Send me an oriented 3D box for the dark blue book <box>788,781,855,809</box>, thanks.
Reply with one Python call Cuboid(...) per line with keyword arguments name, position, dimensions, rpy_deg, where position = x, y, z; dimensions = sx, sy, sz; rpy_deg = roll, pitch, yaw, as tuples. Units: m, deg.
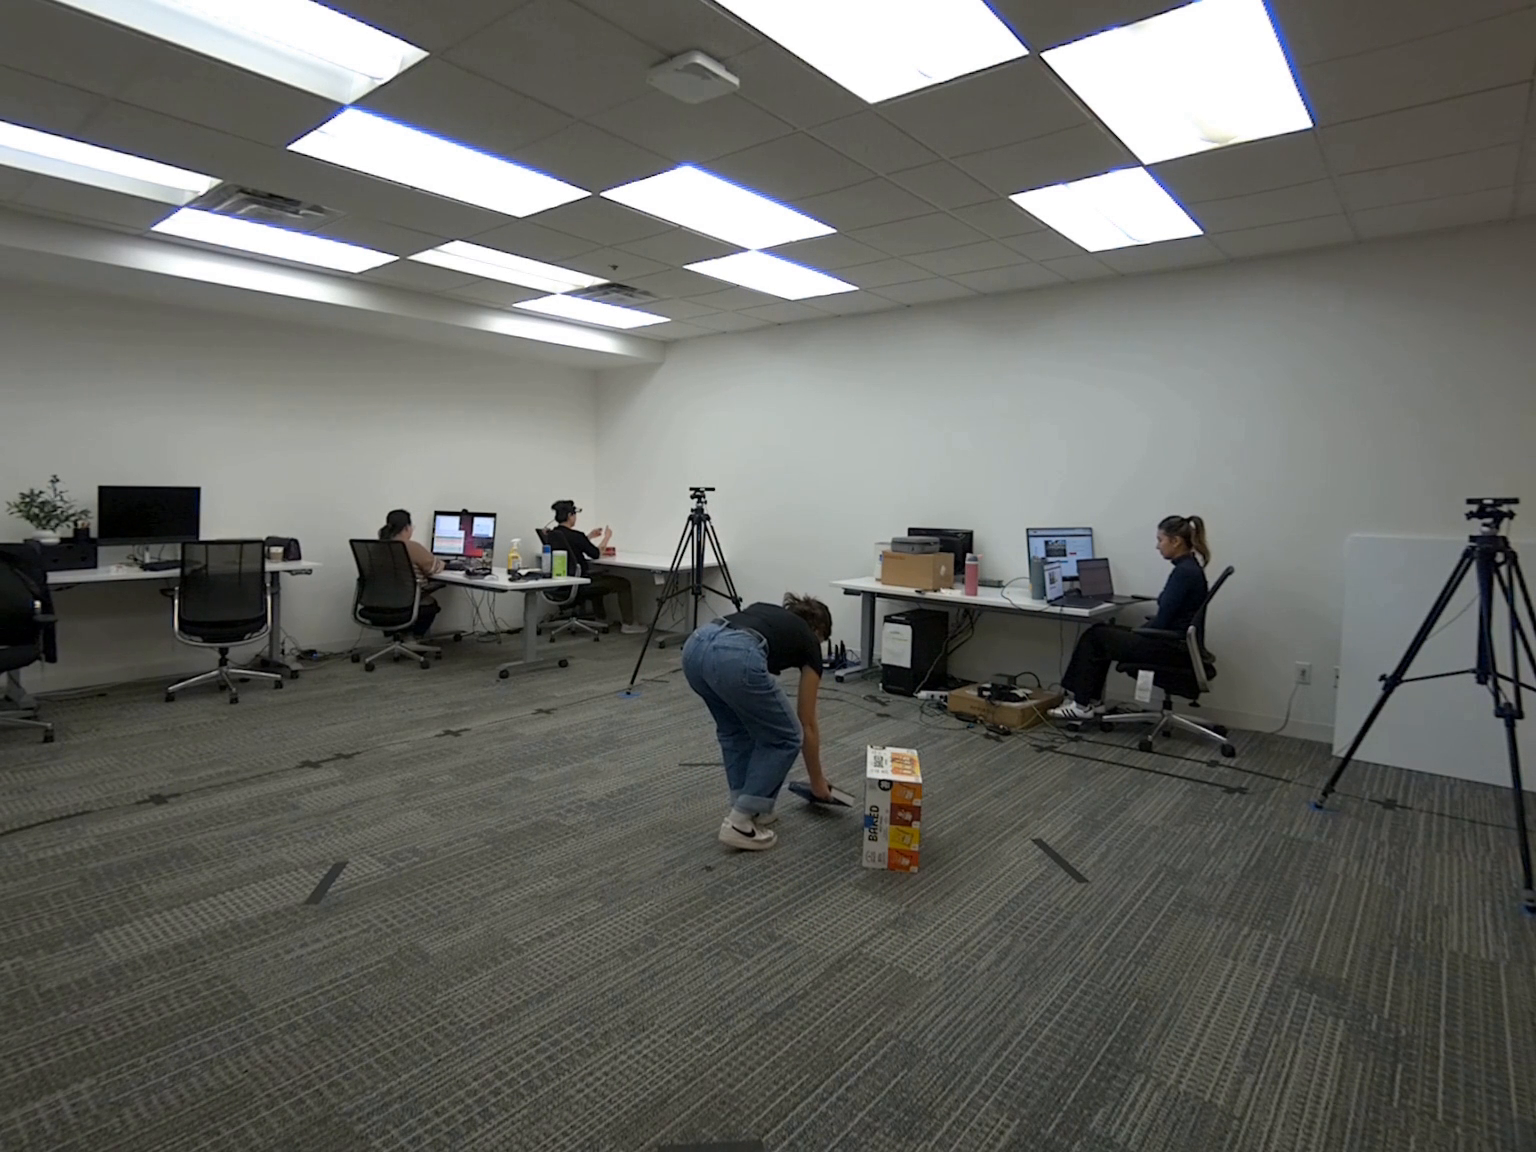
Cuboid(name="dark blue book", position=(0.225, 0.943, 3.693), dimensions=(0.252, 0.046, 0.157), rpy_deg=(-5, -32, 45))
